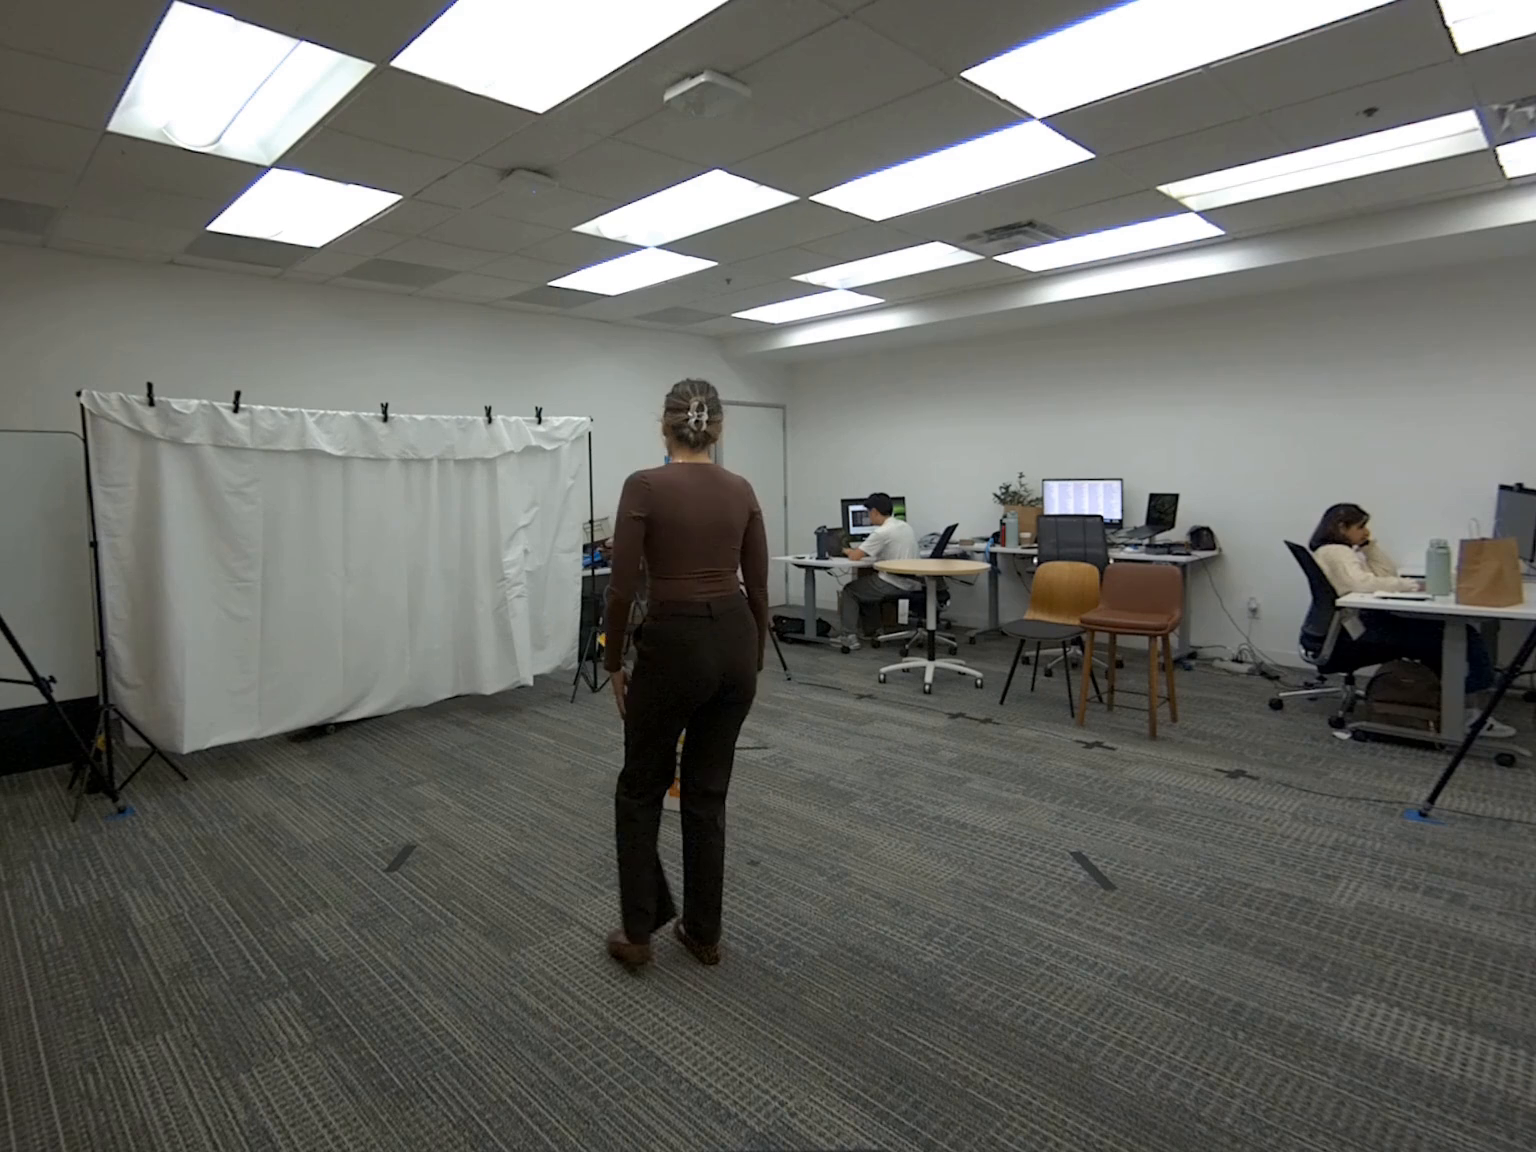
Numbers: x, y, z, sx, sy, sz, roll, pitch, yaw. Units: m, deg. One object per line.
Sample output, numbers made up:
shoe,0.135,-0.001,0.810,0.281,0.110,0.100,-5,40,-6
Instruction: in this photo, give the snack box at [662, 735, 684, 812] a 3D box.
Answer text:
snack box,-0.430,0.774,3.712,0.348,0.404,0.201,1,4,26
